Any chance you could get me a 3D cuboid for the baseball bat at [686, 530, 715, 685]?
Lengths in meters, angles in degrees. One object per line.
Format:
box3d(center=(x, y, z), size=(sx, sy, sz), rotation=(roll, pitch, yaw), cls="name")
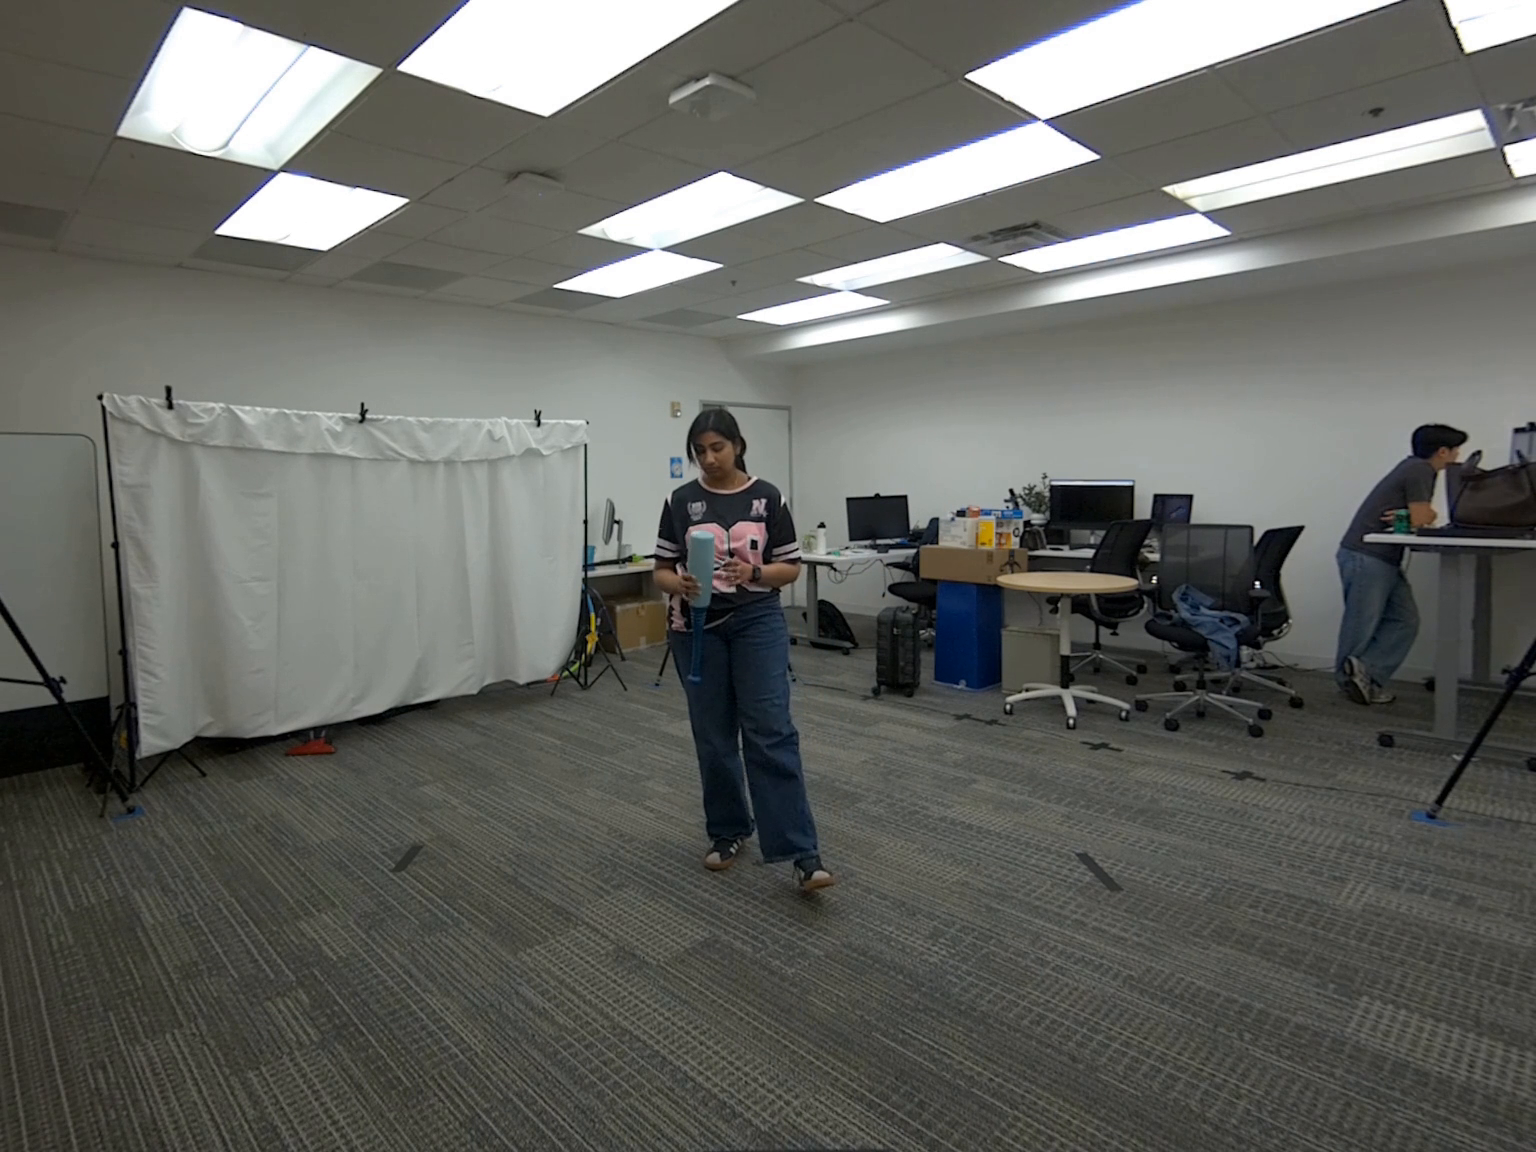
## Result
box3d(center=(-0.246, 0.112, 2.887), size=(0.089, 0.535, 0.090), rotation=(3, 16, -3), cls="baseball bat")
